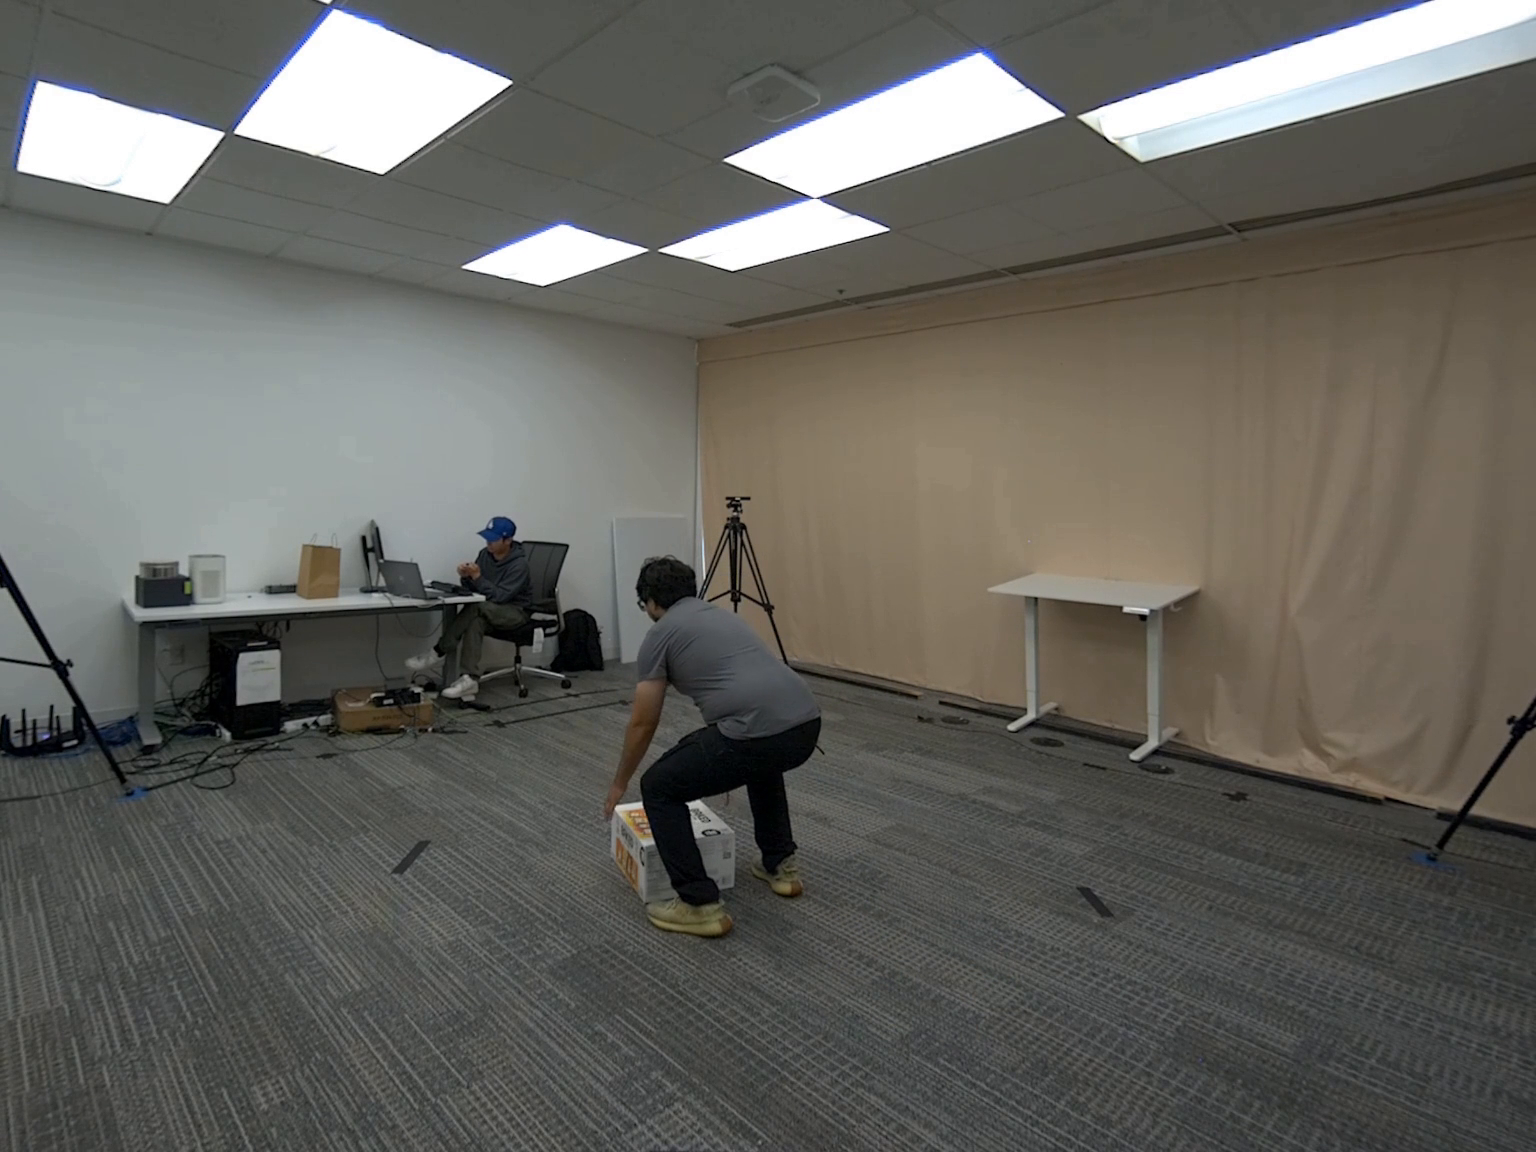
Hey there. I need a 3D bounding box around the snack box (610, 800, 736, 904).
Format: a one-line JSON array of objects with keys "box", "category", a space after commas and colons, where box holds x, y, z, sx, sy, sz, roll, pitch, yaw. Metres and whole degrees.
[{"box": [-0.367, 1.000, 3.112, 0.334, 0.205, 0.413, -1, 5, -25], "category": "snack box"}]
